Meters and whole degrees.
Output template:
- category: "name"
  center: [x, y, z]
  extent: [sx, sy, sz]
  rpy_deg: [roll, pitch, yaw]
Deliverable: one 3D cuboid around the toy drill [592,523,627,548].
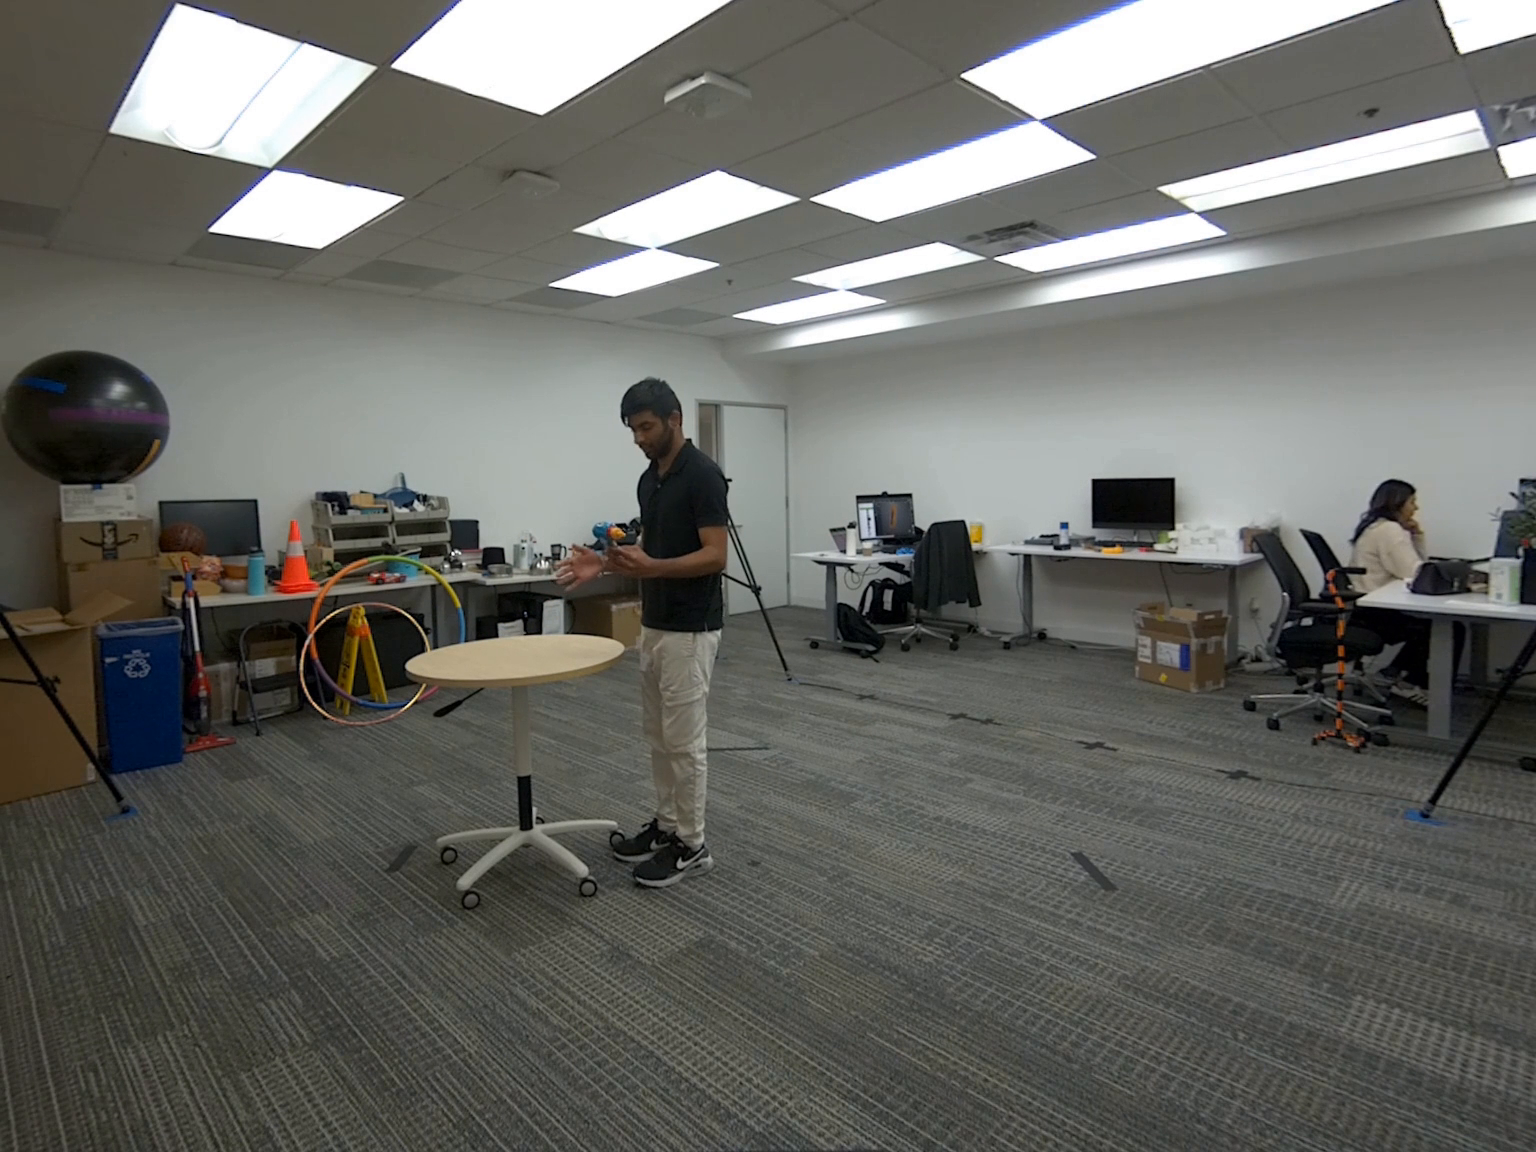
- category: "toy drill"
  center: [-0.474, -0.101, 2.641]
  extent: [0.061, 0.142, 0.175]
  rpy_deg: [-40, 30, -29]
